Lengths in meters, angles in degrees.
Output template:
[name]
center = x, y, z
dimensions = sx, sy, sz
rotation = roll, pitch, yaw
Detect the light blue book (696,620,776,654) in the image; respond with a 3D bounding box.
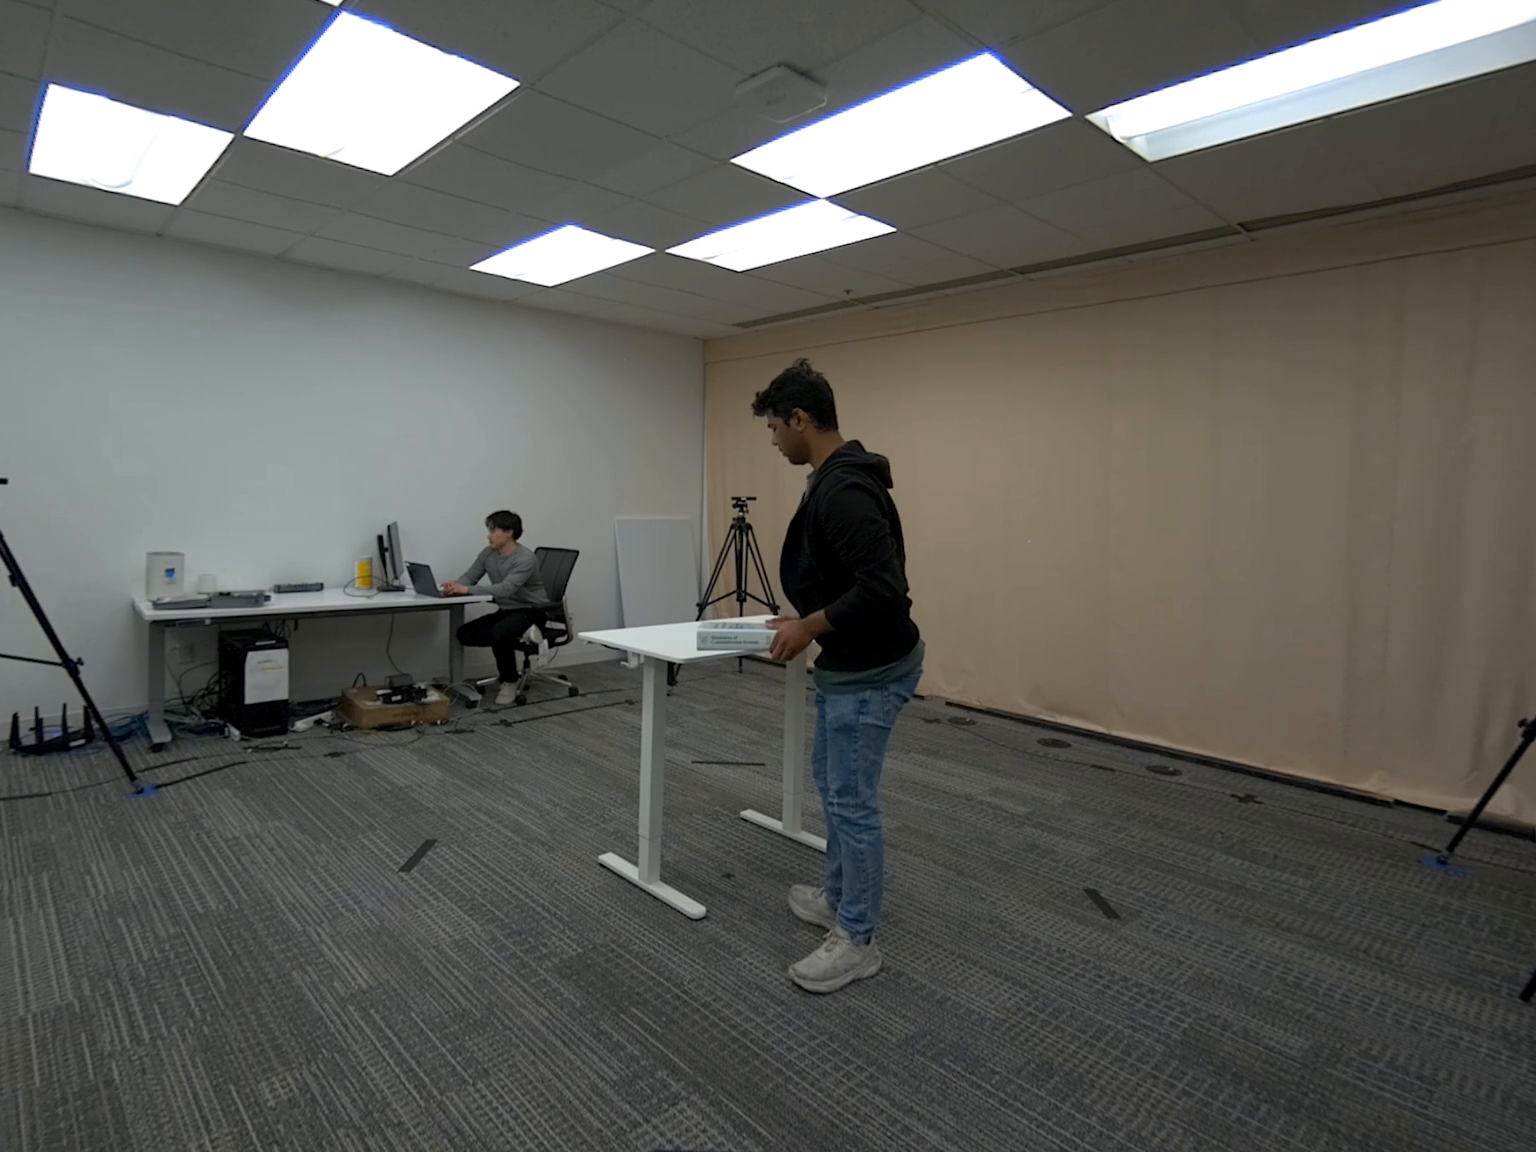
[light blue book]
center = -0.069, 0.188, 2.475
dimensions = 0.261, 0.059, 0.191
rotation = 0, 3, 0
